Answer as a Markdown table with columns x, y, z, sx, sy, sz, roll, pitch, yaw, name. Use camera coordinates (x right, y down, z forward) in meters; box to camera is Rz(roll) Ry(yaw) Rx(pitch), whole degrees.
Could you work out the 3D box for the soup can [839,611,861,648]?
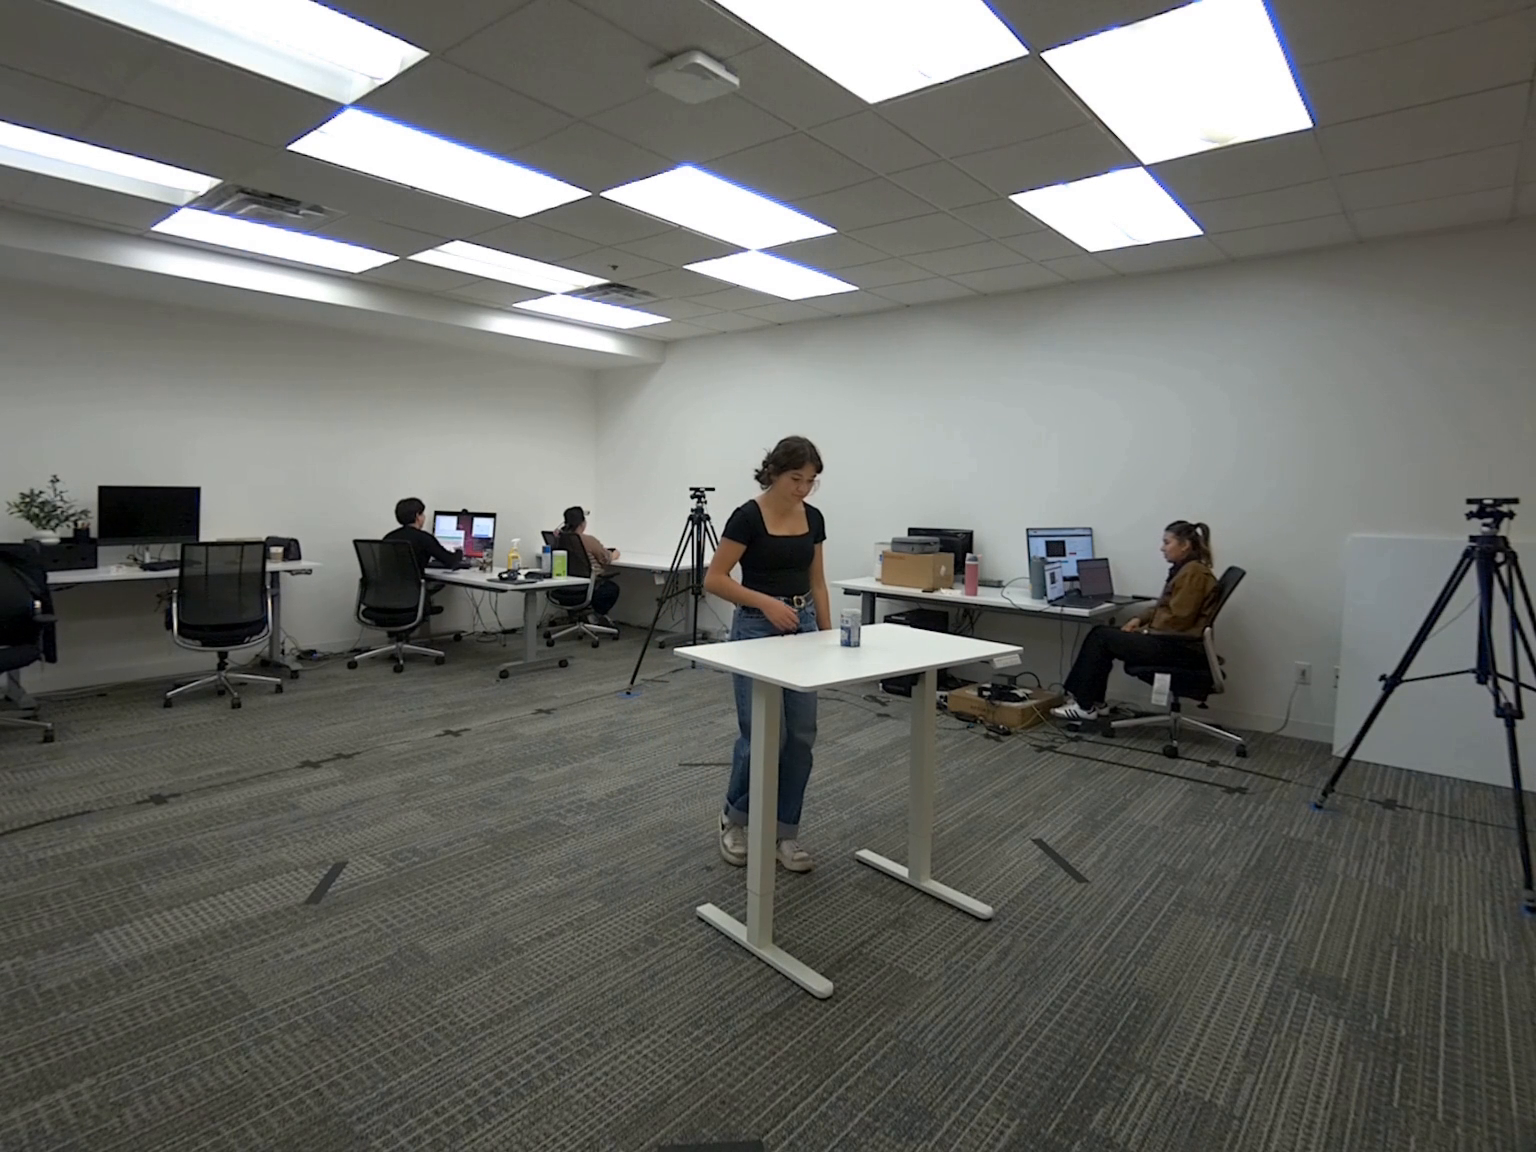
| x | y | z | sx | sy | sz | roll | pitch | yaw | name |
| --- | --- | --- | --- | --- | --- | --- | --- | --- | --- |
| 0.262 | 0.167 | 2.788 | 0.067 | 0.121 | 0.067 | -2 | 3 | -2 | soup can |
